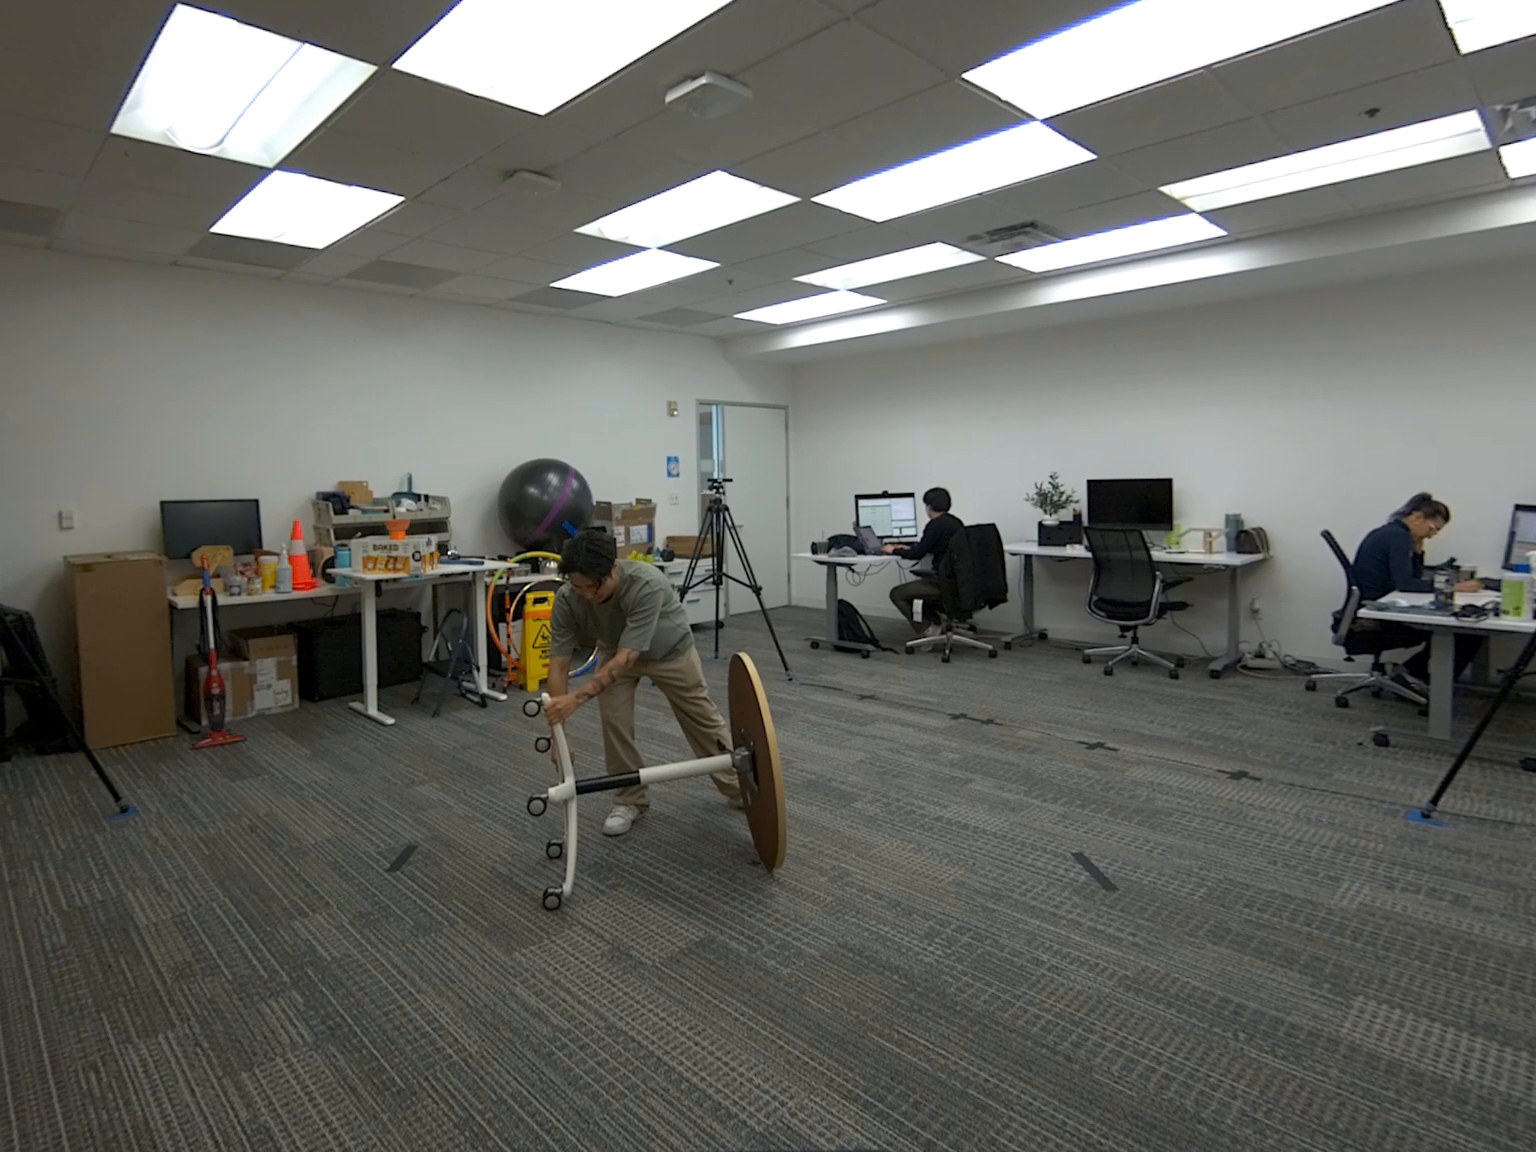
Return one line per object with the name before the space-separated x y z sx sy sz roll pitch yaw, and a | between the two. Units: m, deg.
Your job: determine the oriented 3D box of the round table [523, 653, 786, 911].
round table | -0.424 0.719 3.049 0.779 0.781 0.797 -8 6 -11
